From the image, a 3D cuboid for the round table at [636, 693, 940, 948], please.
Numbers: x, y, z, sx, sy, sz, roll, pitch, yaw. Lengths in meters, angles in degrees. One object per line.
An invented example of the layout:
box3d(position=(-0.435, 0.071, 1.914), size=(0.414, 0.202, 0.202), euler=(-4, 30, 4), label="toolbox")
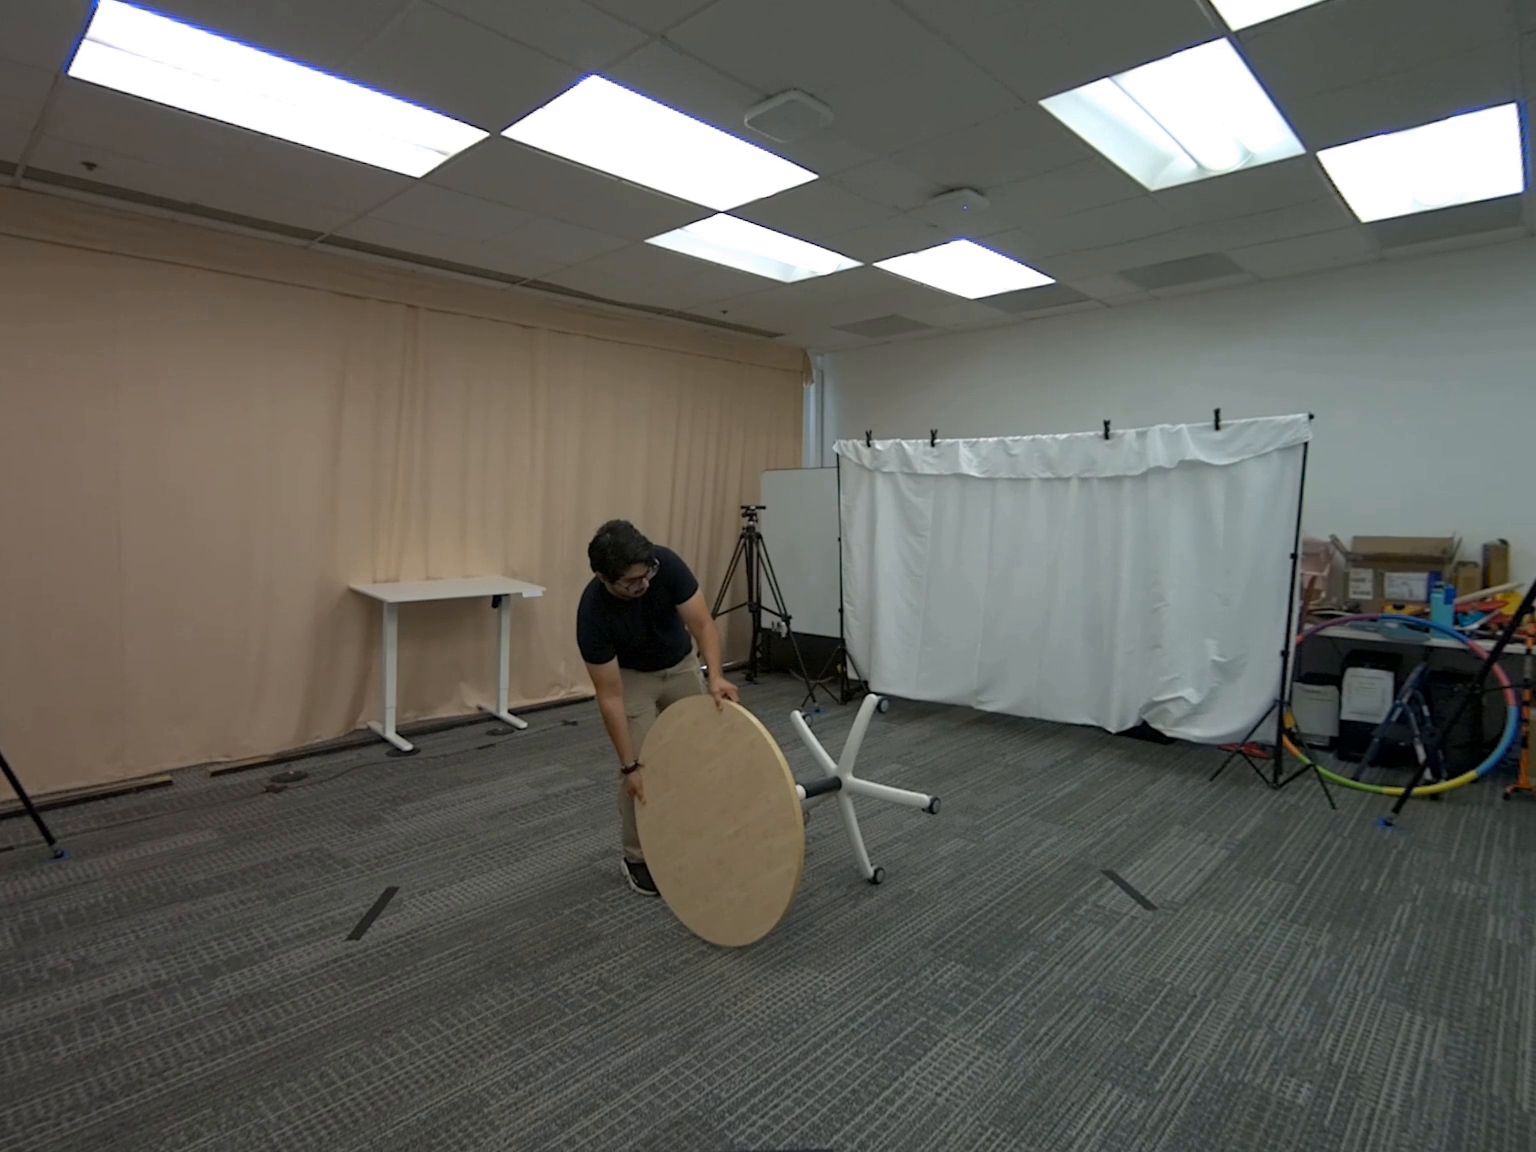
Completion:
box3d(position=(0.090, 0.762, 2.932), size=(0.761, 0.784, 0.811), euler=(0, 3, -44), label="round table")
